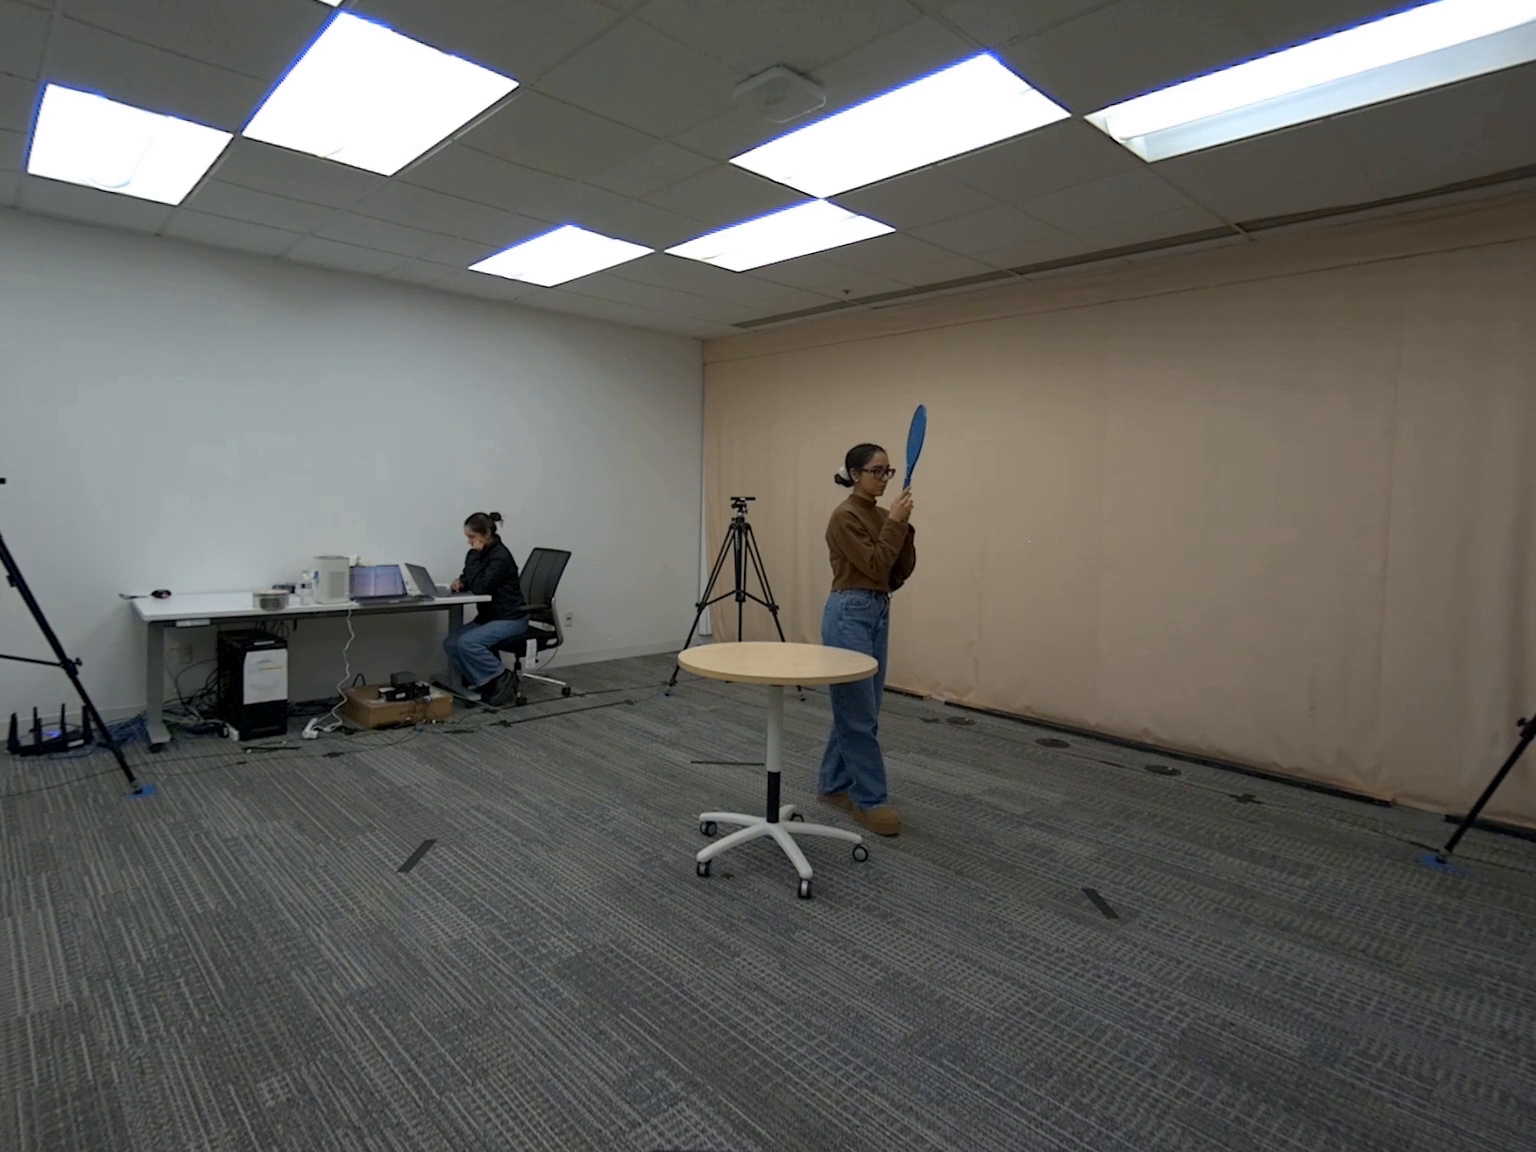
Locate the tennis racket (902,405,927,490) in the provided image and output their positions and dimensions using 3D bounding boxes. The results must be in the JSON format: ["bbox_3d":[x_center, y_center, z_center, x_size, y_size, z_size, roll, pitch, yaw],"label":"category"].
[{"bbox_3d":[0.590,-0.512,3.564,0.031,0.430,0.216,10,12,-8],"label":"tennis racket"}]
